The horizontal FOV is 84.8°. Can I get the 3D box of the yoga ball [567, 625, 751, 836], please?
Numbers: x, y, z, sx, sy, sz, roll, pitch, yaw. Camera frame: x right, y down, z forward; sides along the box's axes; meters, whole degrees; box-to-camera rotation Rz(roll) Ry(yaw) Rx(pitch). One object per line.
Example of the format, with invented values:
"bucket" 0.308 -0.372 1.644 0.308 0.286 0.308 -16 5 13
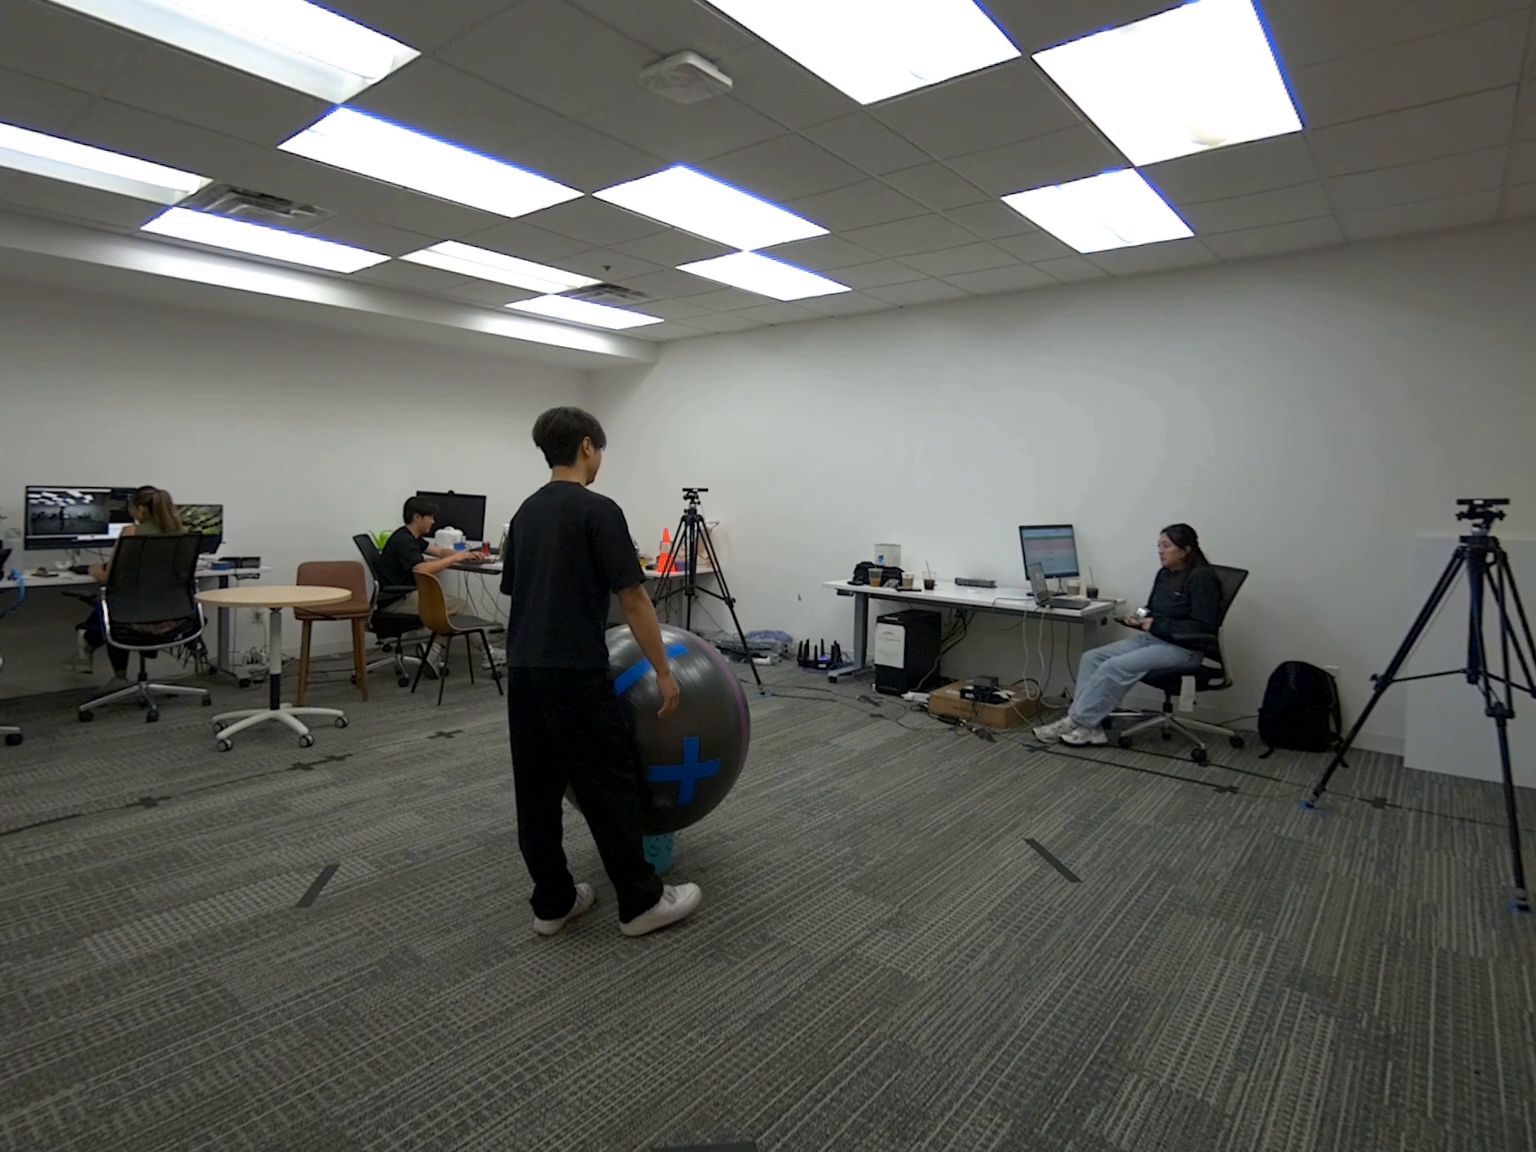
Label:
"yoga ball" -0.451 0.549 3.133 0.757 0.756 0.761 1 4 -2
